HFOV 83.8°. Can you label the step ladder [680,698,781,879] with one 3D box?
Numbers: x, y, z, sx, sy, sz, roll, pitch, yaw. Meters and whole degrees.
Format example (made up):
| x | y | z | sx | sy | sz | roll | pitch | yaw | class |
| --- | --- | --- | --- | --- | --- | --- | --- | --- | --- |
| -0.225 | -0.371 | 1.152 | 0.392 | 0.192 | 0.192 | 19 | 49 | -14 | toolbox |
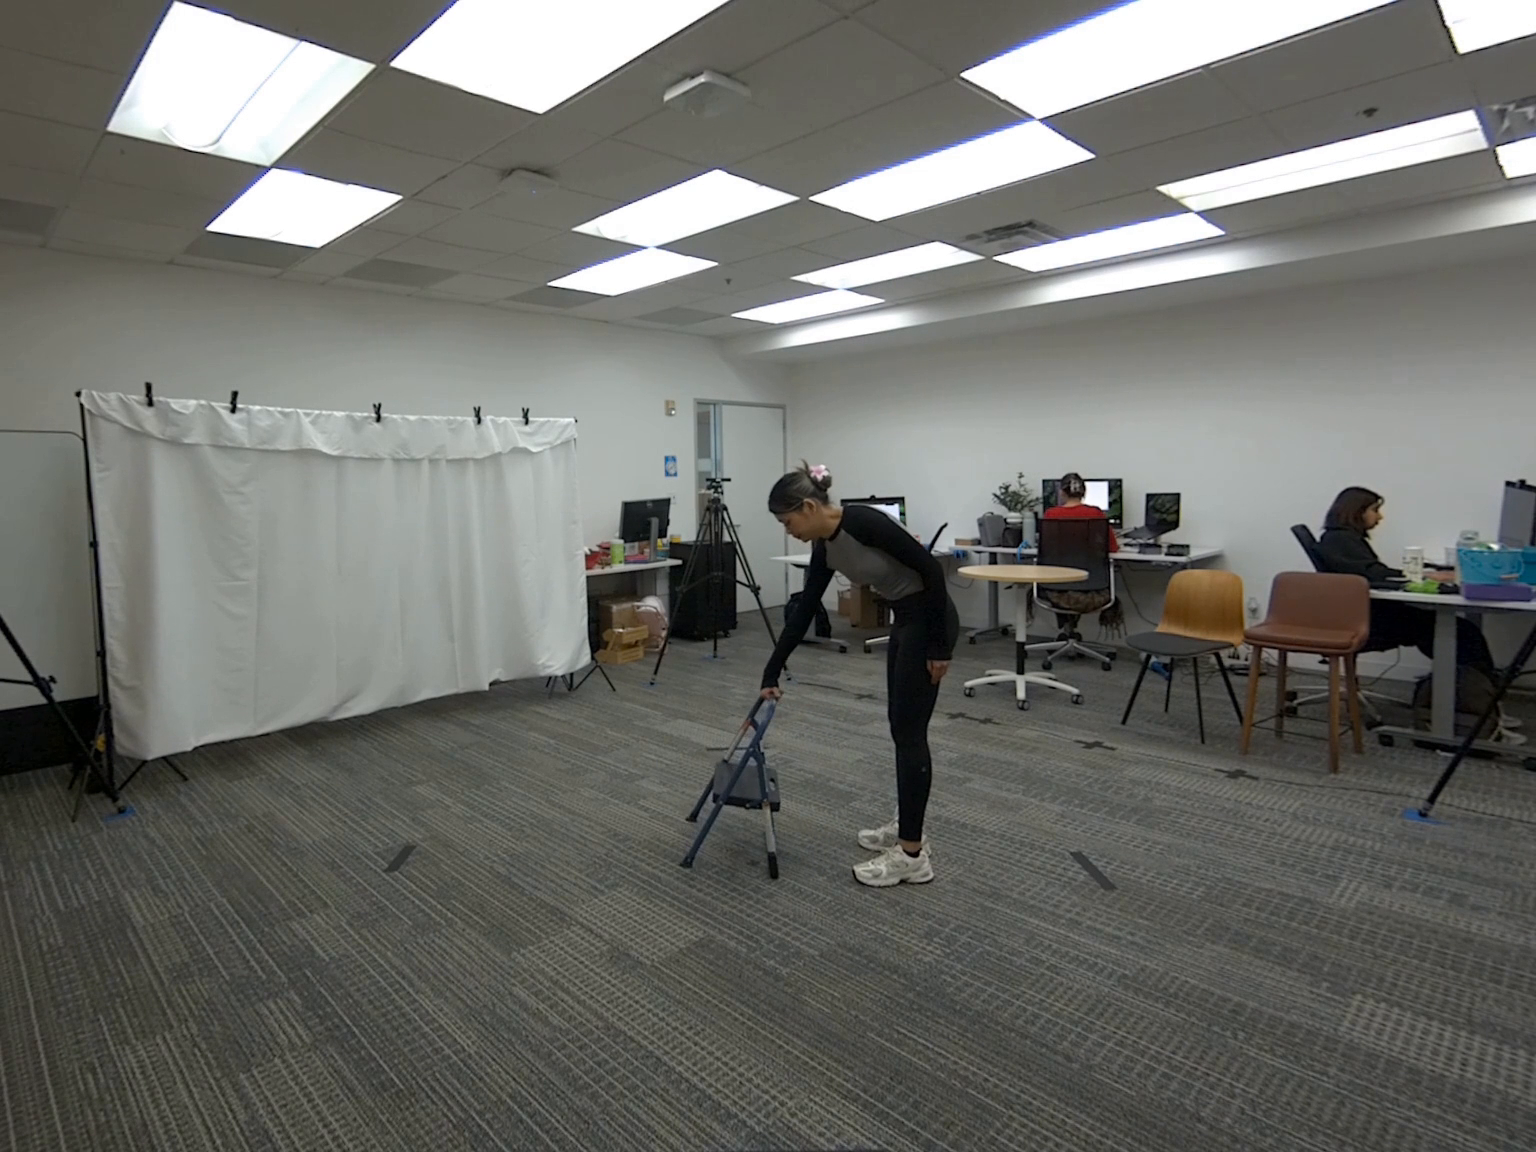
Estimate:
| x | y | z | sx | sy | sz | roll | pitch | yaw | class |
| --- | --- | --- | --- | --- | --- | --- | --- | --- | --- |
| -0.099 | 0.724 | 3.163 | 0.349 | 0.604 | 0.432 | 7 | 4 | -1 | step ladder |
